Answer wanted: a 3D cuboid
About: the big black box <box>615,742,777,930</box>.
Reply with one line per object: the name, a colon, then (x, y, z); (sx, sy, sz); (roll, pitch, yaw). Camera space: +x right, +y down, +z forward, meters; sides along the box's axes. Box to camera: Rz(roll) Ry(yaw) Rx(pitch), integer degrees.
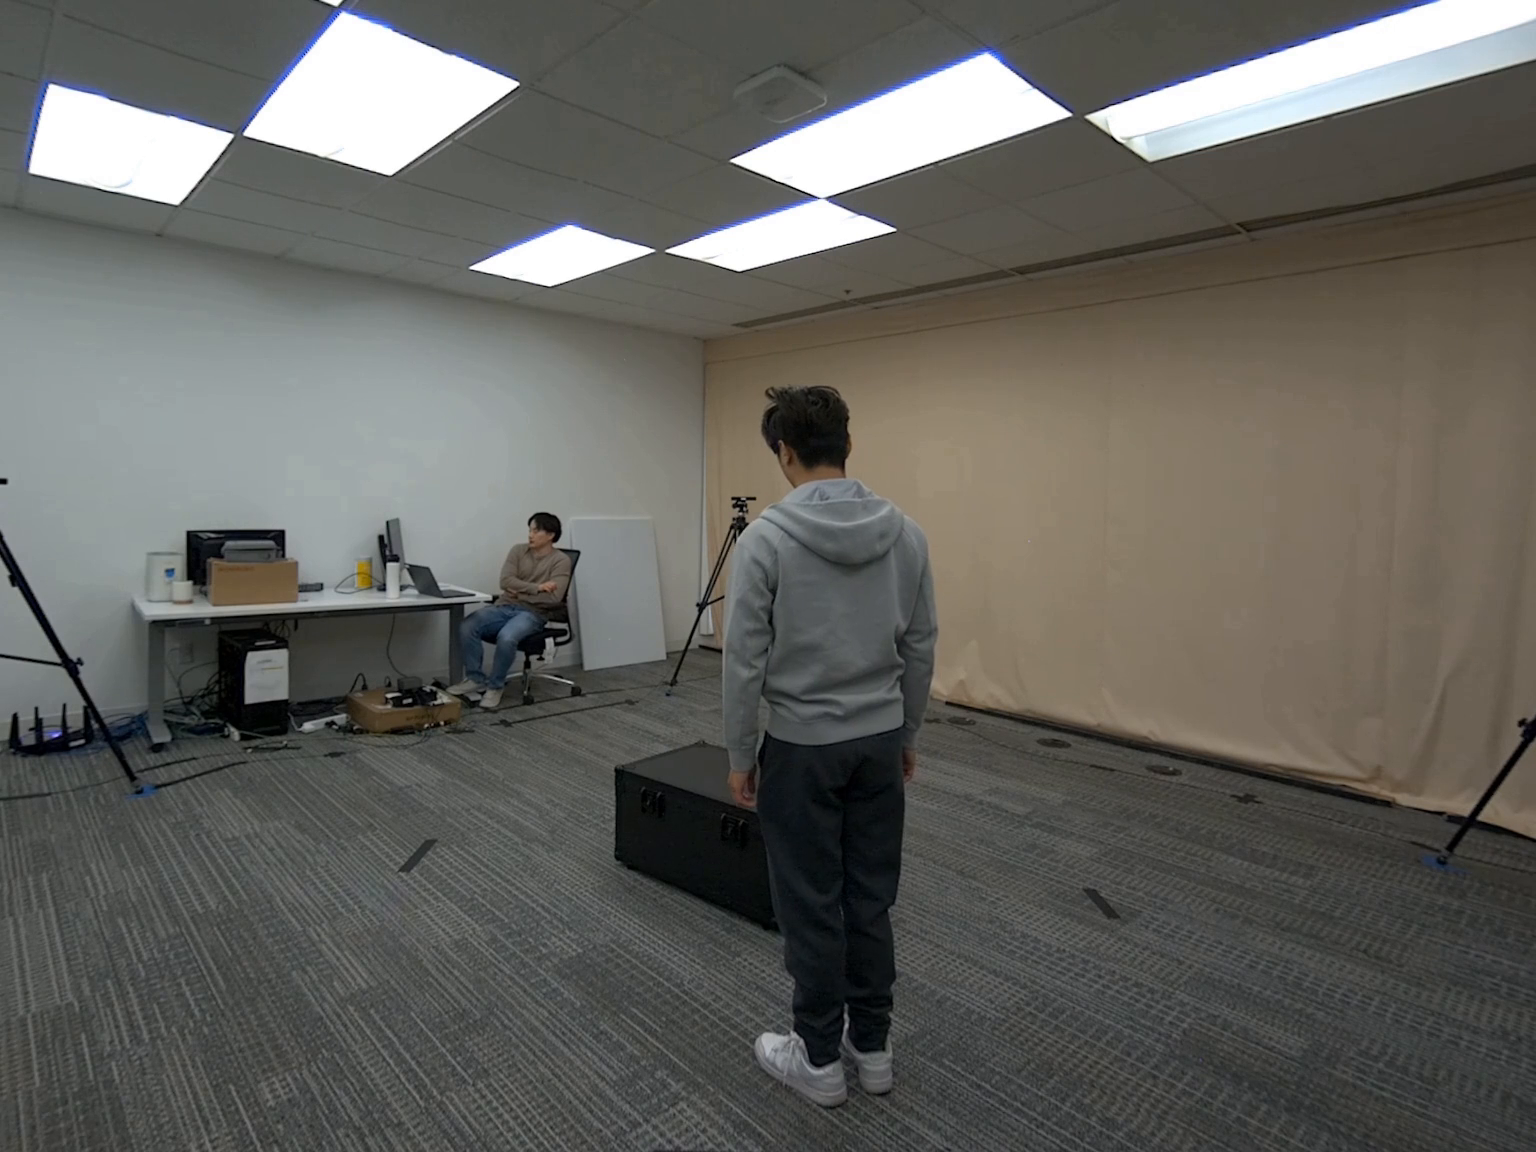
big black box: (-0.149, 0.914, 3.117); (0.883, 0.395, 0.510); (6, 6, 39)
